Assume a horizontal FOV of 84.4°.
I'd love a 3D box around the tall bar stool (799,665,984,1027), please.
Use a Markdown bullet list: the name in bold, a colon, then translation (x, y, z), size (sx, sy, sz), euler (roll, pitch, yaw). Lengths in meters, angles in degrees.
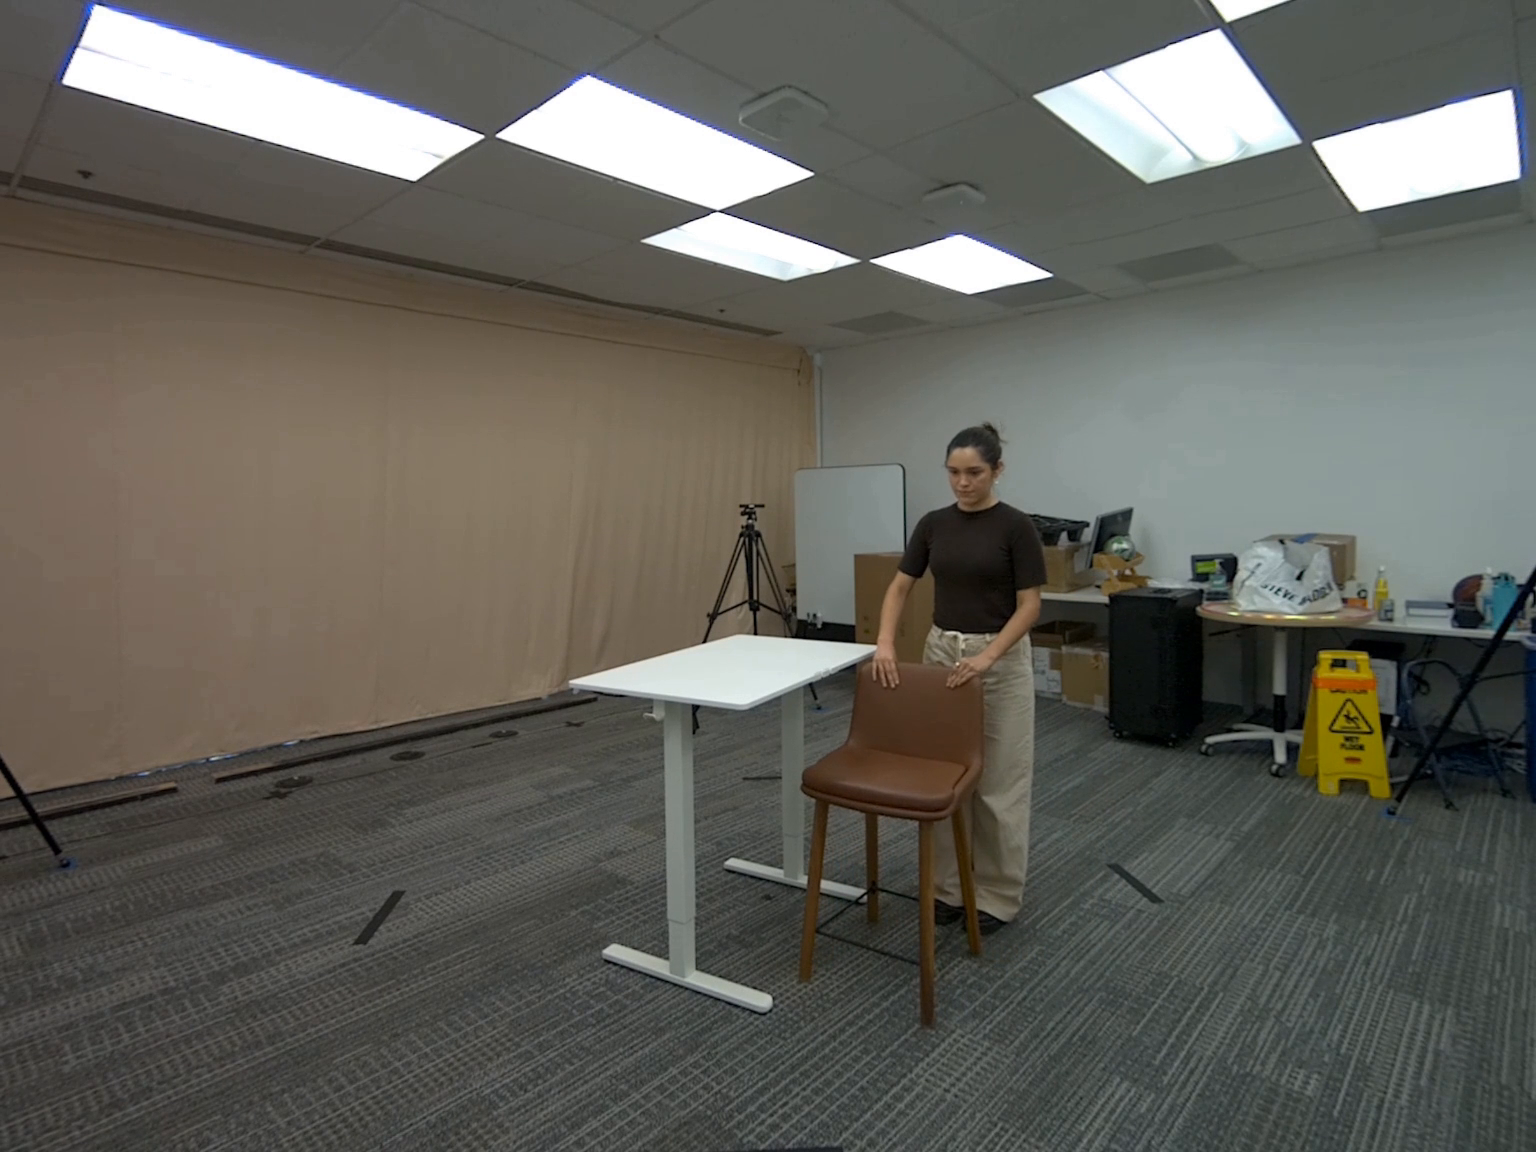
- **tall bar stool**: translation (0.388, 0.739, 2.503), size (0.471, 0.888, 0.454), euler (3, 3, 35)
